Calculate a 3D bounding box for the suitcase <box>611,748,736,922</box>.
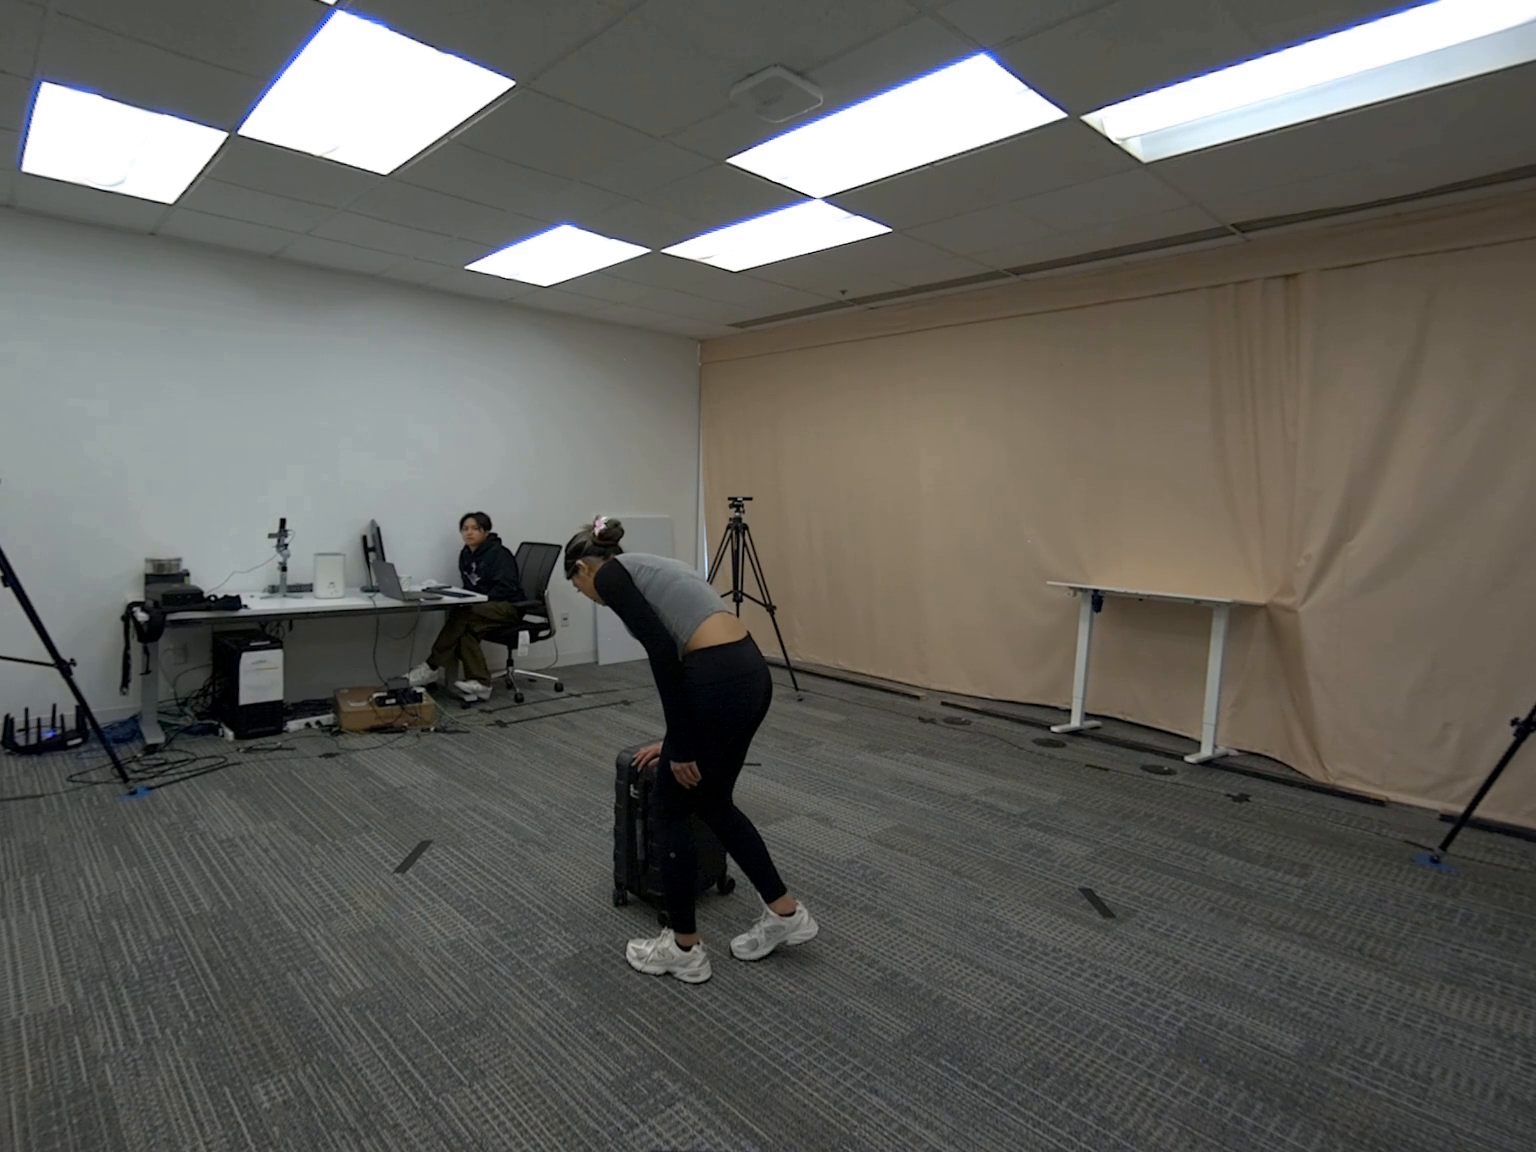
[{"bbox_3d":[-0.345,0.846,2.915,0.254,0.548,0.367,1,3,40],"label":"suitcase"}]
